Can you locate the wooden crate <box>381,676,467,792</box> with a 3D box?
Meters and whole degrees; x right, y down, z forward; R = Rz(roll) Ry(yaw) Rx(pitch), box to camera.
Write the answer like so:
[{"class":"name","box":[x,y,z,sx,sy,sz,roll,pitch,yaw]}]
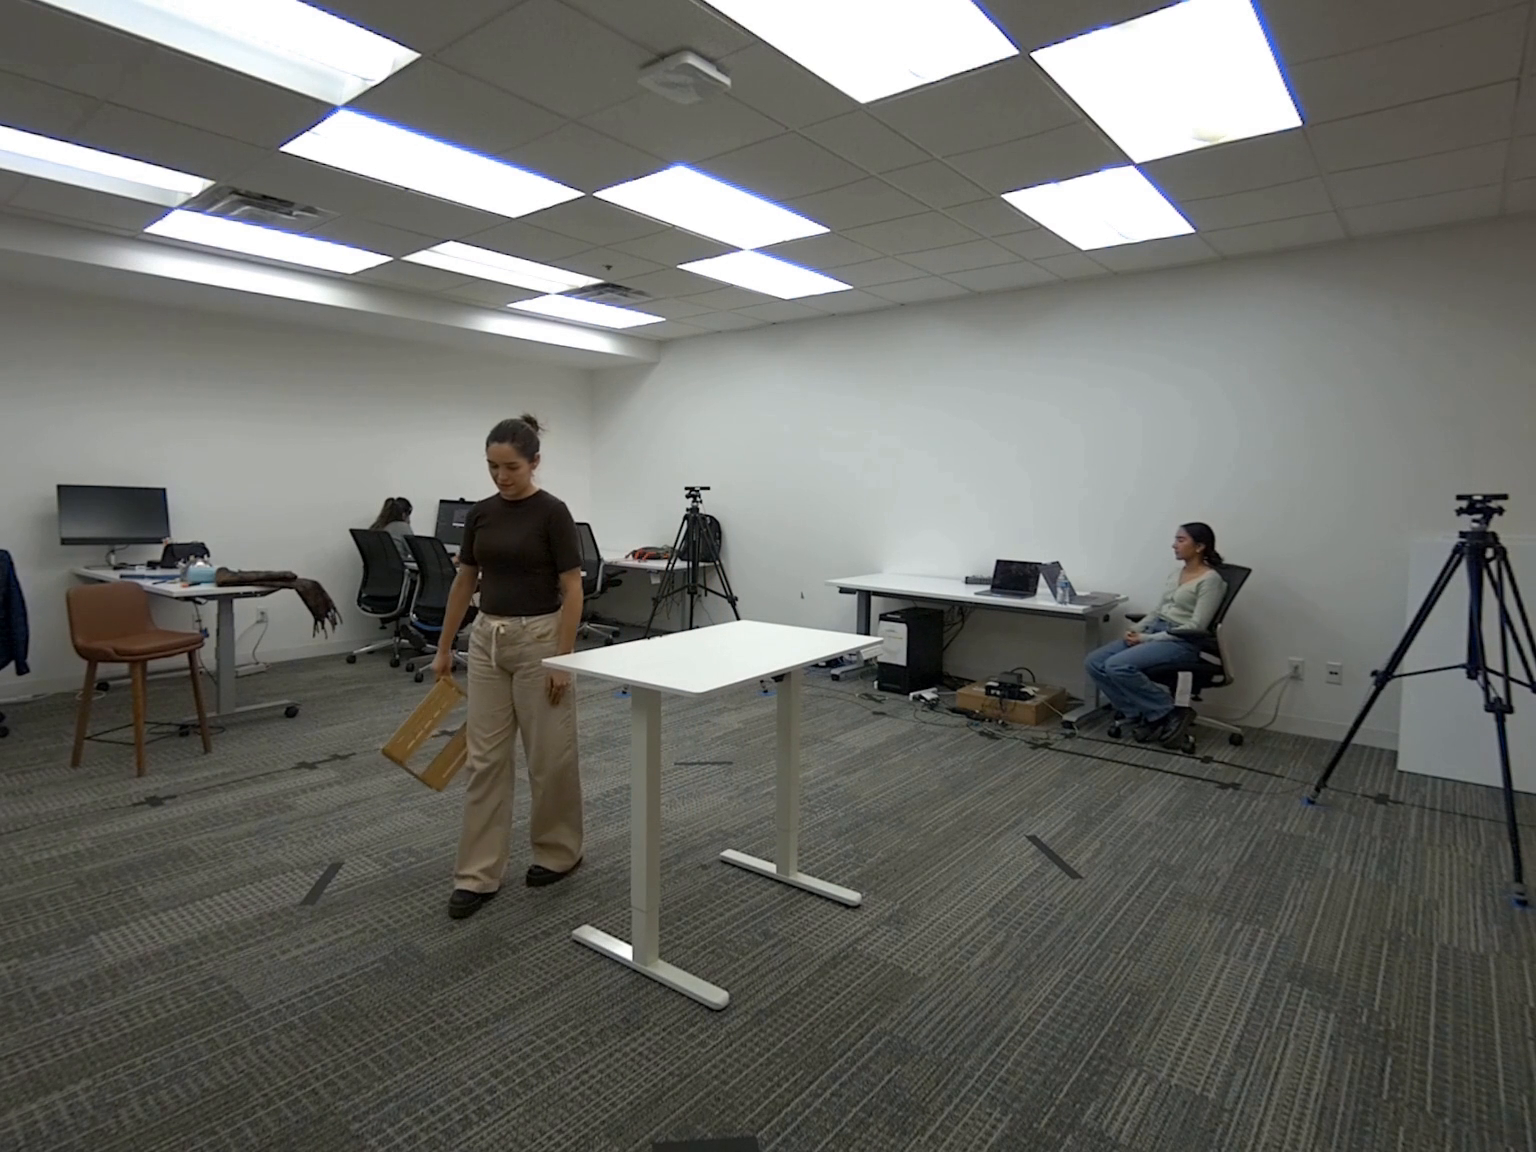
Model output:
[{"class":"wooden crate","box":[-1.196,0.552,3.037,0.268,0.325,0.308,44,-21,-16]}]
